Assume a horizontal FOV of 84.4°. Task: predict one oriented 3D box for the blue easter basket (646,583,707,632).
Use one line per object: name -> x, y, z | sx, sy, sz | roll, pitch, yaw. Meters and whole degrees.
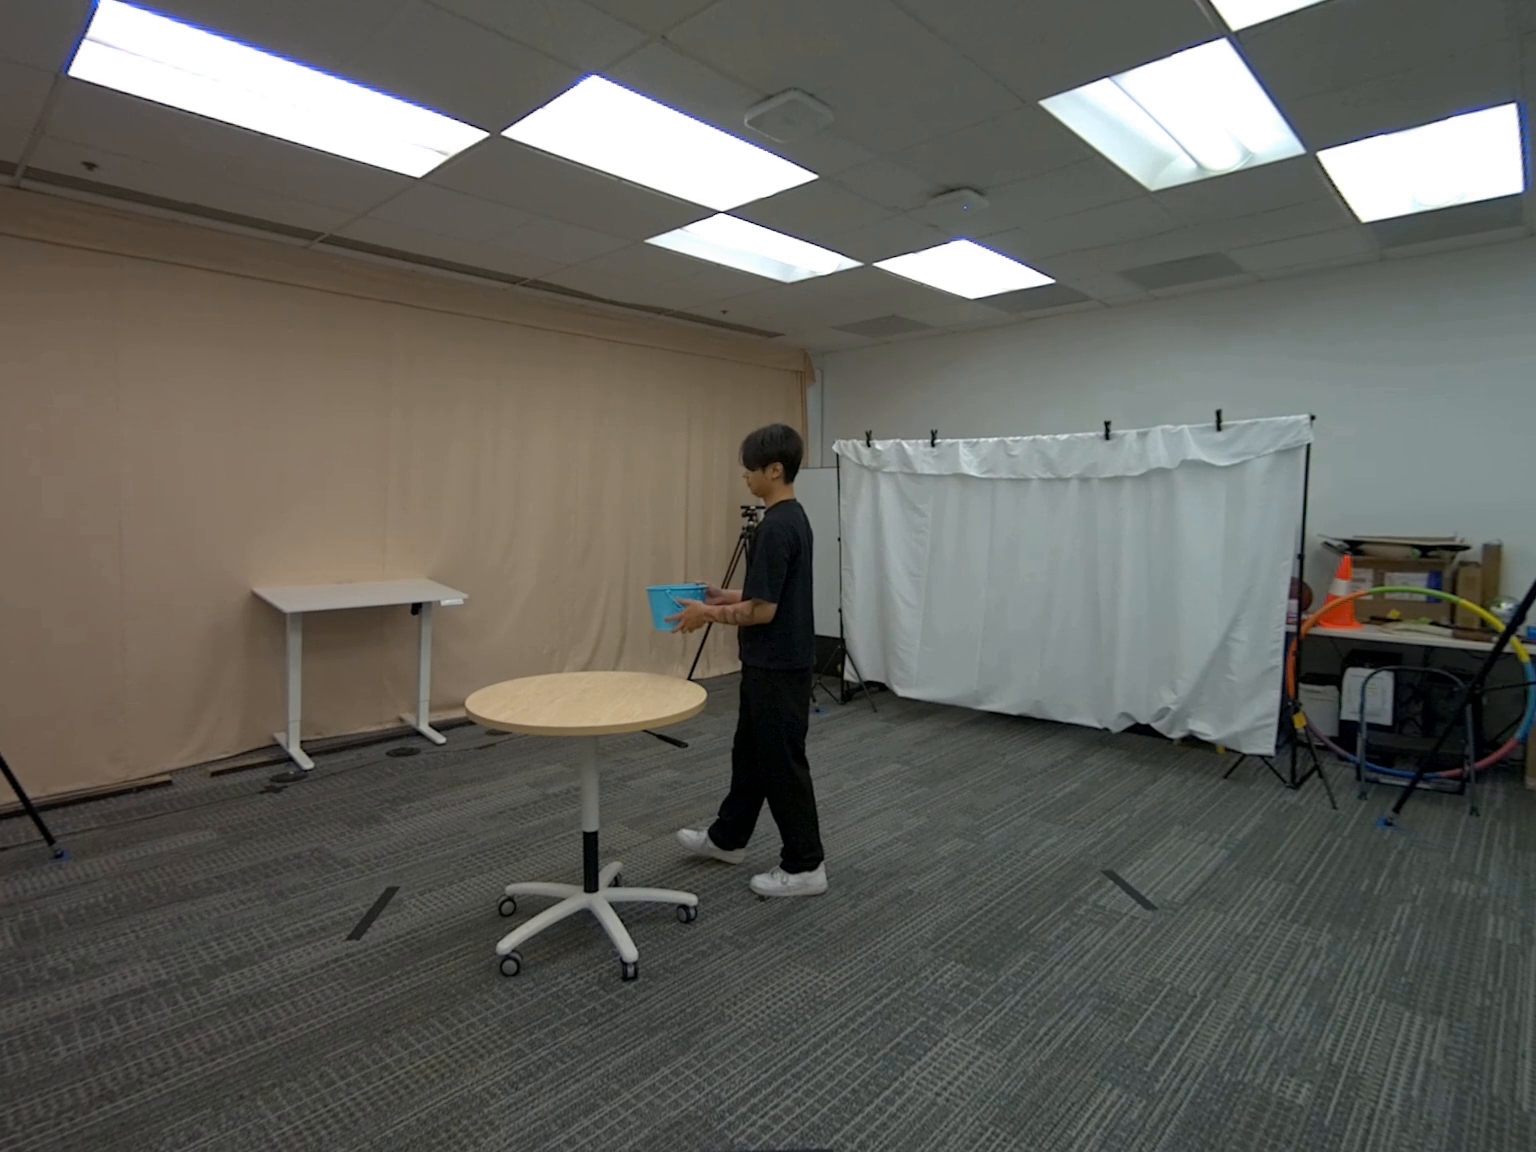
blue easter basket -> -0.324, 0.119, 3.114 | 0.243, 0.156, 0.244 | -2, 1, -2
